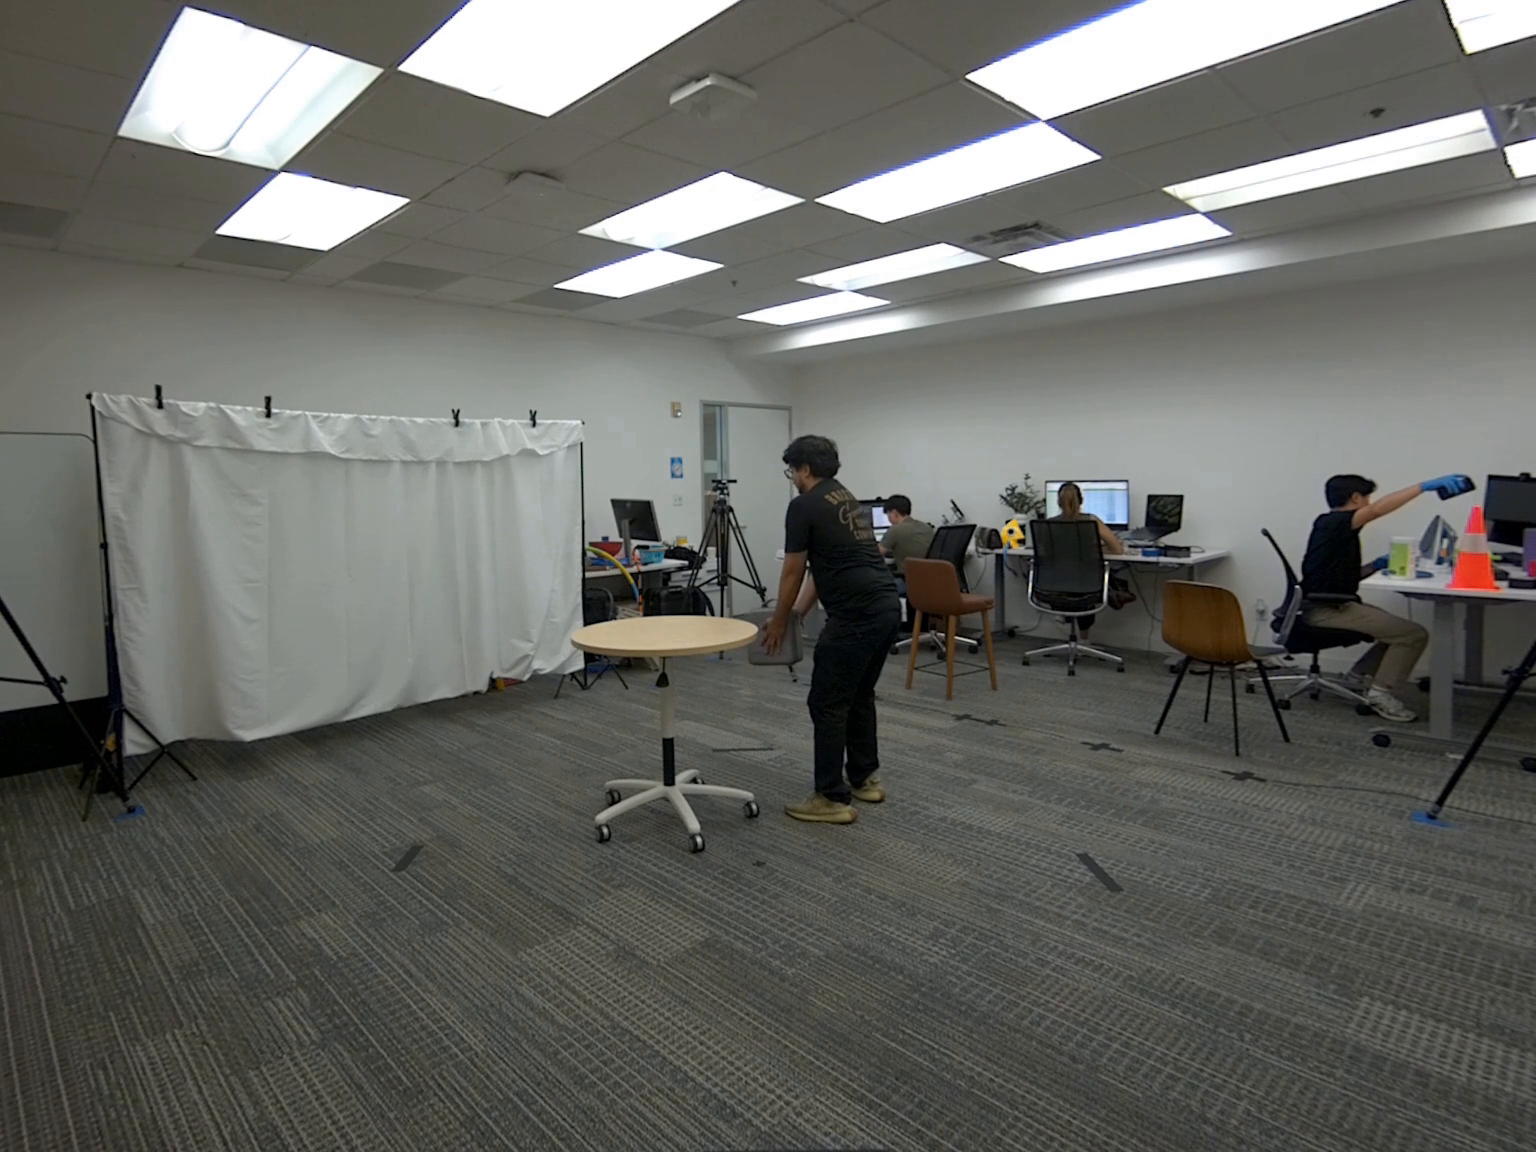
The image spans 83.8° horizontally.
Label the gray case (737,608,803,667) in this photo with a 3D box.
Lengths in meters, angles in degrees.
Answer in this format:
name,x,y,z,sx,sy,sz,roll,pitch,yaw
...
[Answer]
name,x,y,z,sx,sy,sz,roll,pitch,yaw
gray case,0.026,0.270,3.853,0.263,0.262,0.101,-7,-7,38
